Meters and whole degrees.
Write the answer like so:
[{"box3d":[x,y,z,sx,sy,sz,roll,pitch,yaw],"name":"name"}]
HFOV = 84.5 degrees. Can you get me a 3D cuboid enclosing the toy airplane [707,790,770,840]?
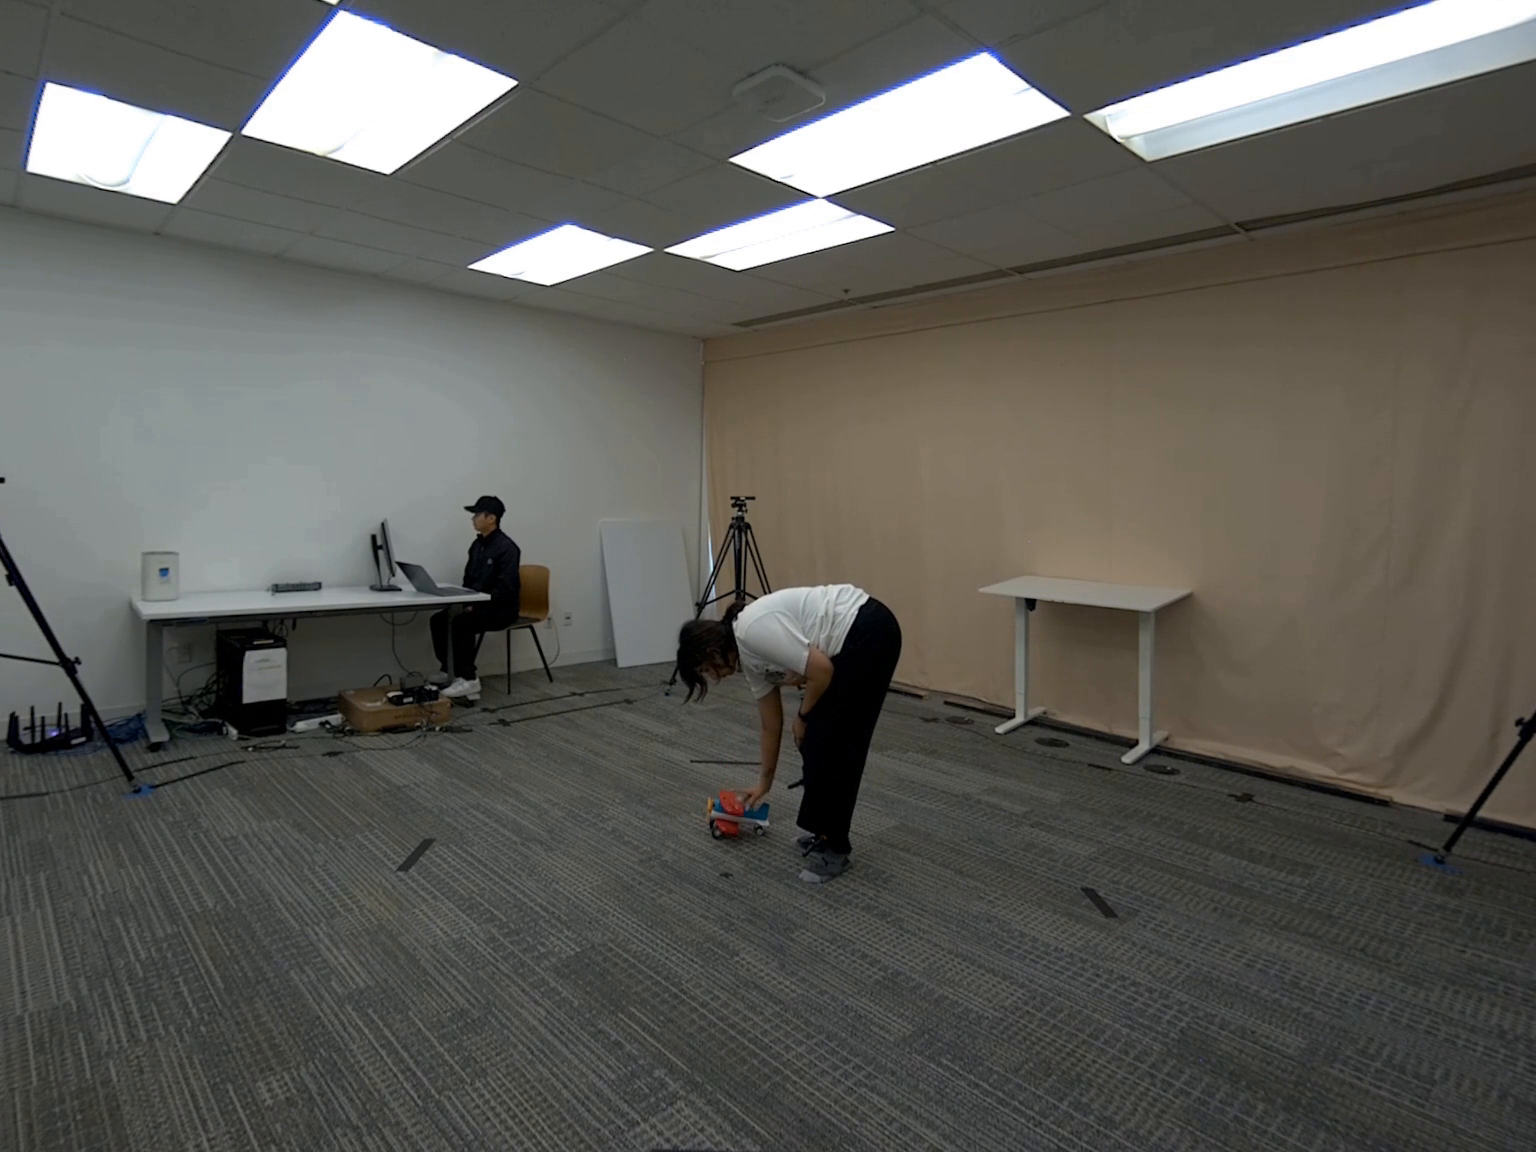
[{"box3d":[-0.141,0.999,3.510,0.253,0.156,0.257,-1,4,-35],"name":"toy airplane"}]
